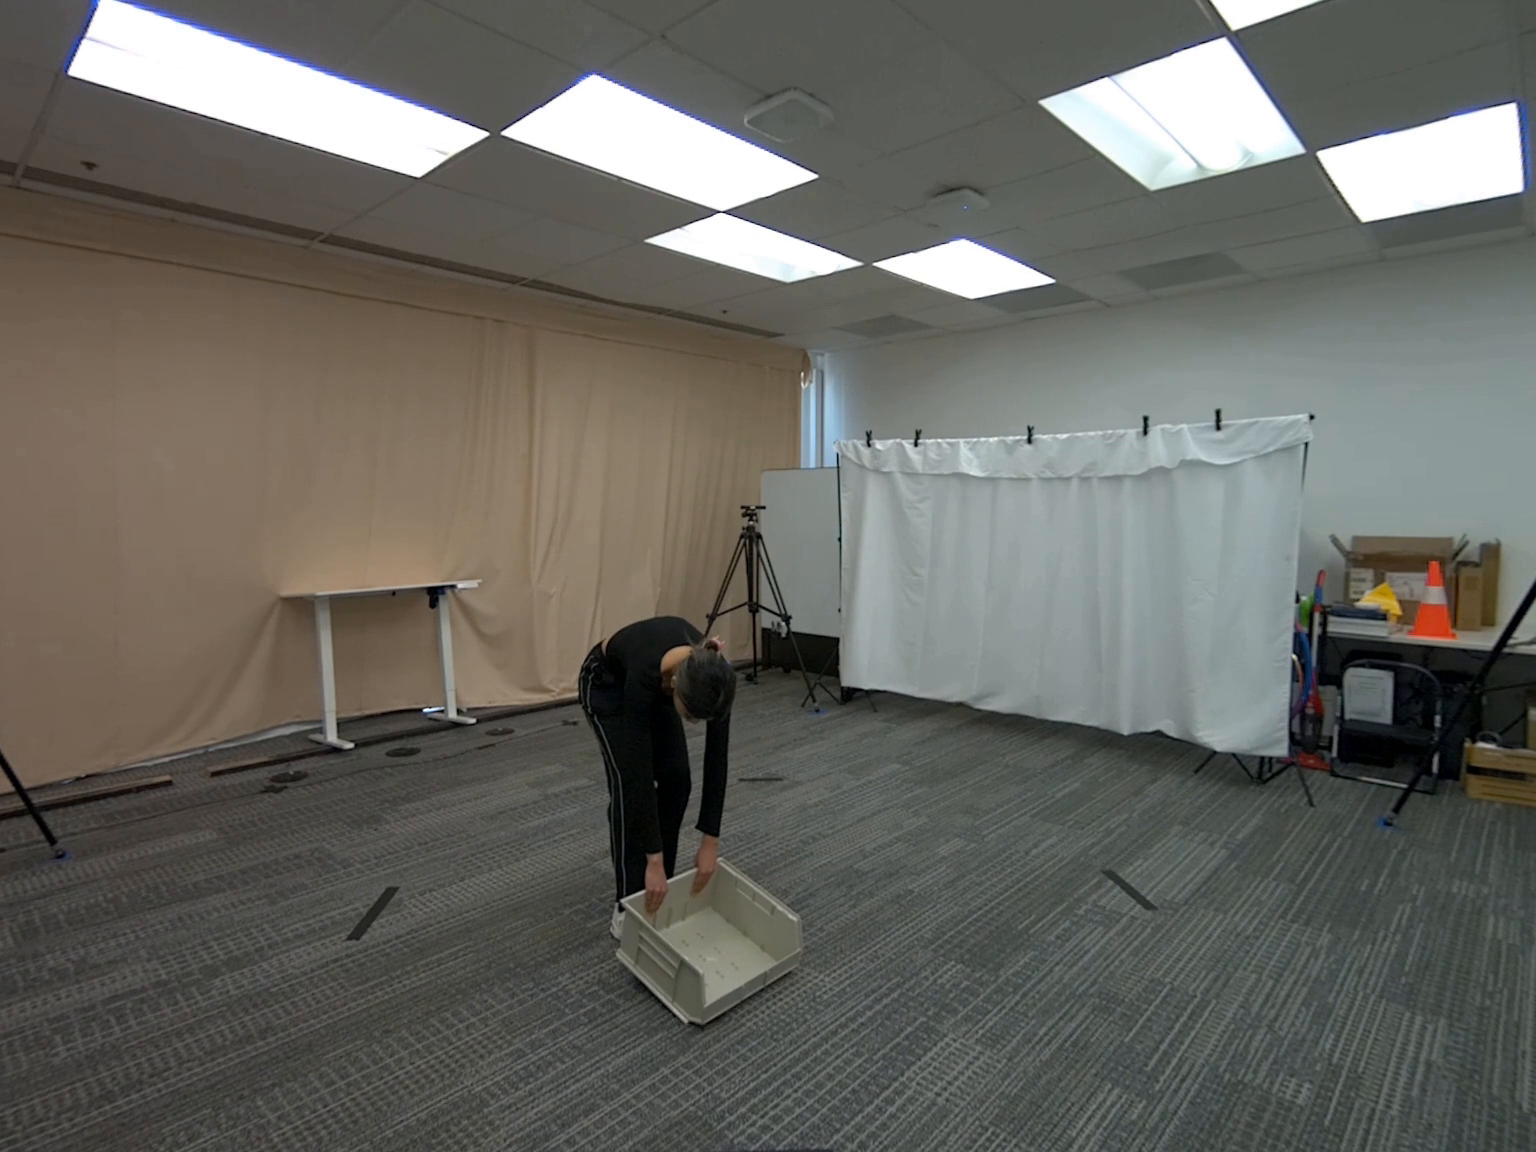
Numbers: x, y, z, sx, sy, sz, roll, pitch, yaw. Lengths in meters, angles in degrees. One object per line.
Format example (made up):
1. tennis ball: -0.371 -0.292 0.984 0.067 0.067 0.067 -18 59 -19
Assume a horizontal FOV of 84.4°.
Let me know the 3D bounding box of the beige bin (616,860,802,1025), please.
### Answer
1. beige bin: -0.161 1.067 2.480 0.391 0.188 0.409 20 17 40
